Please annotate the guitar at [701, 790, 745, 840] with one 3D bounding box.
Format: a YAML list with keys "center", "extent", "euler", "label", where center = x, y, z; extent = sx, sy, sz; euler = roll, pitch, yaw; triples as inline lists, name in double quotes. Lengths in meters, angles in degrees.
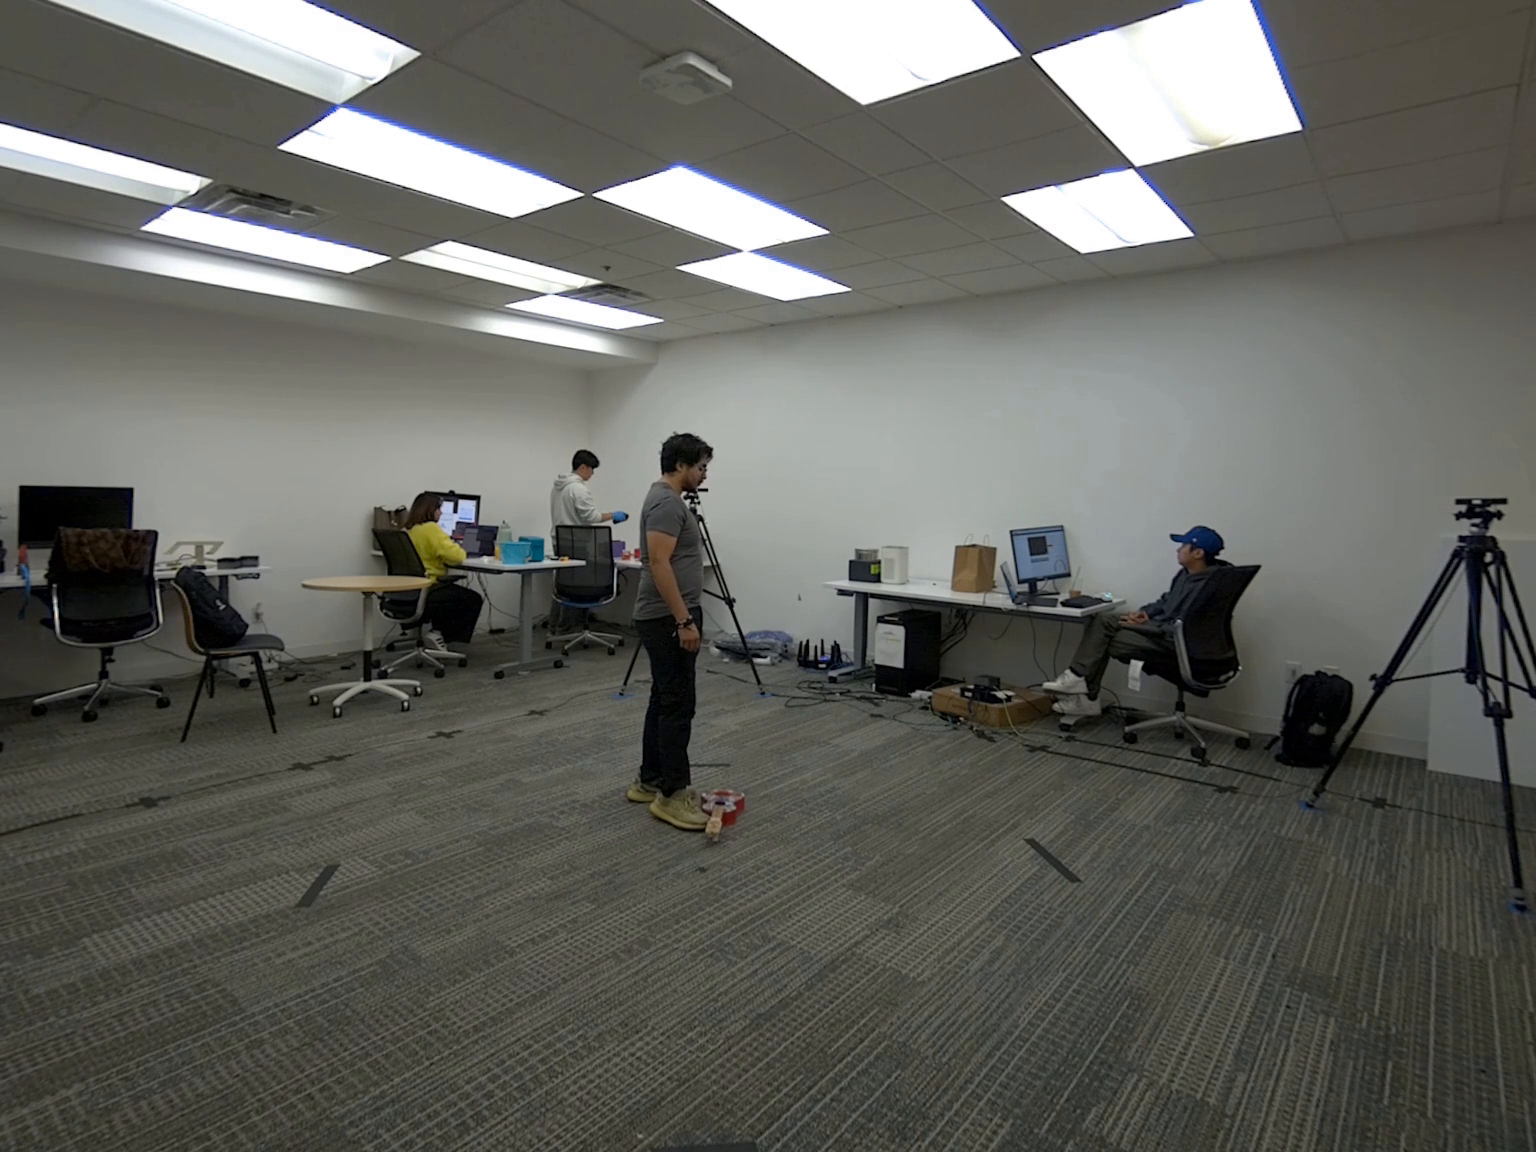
- center: [-0.249, 0.991, 3.538]
  extent: [0.196, 0.070, 0.492]
  euler: [2, 5, 12]
  label: "guitar"
